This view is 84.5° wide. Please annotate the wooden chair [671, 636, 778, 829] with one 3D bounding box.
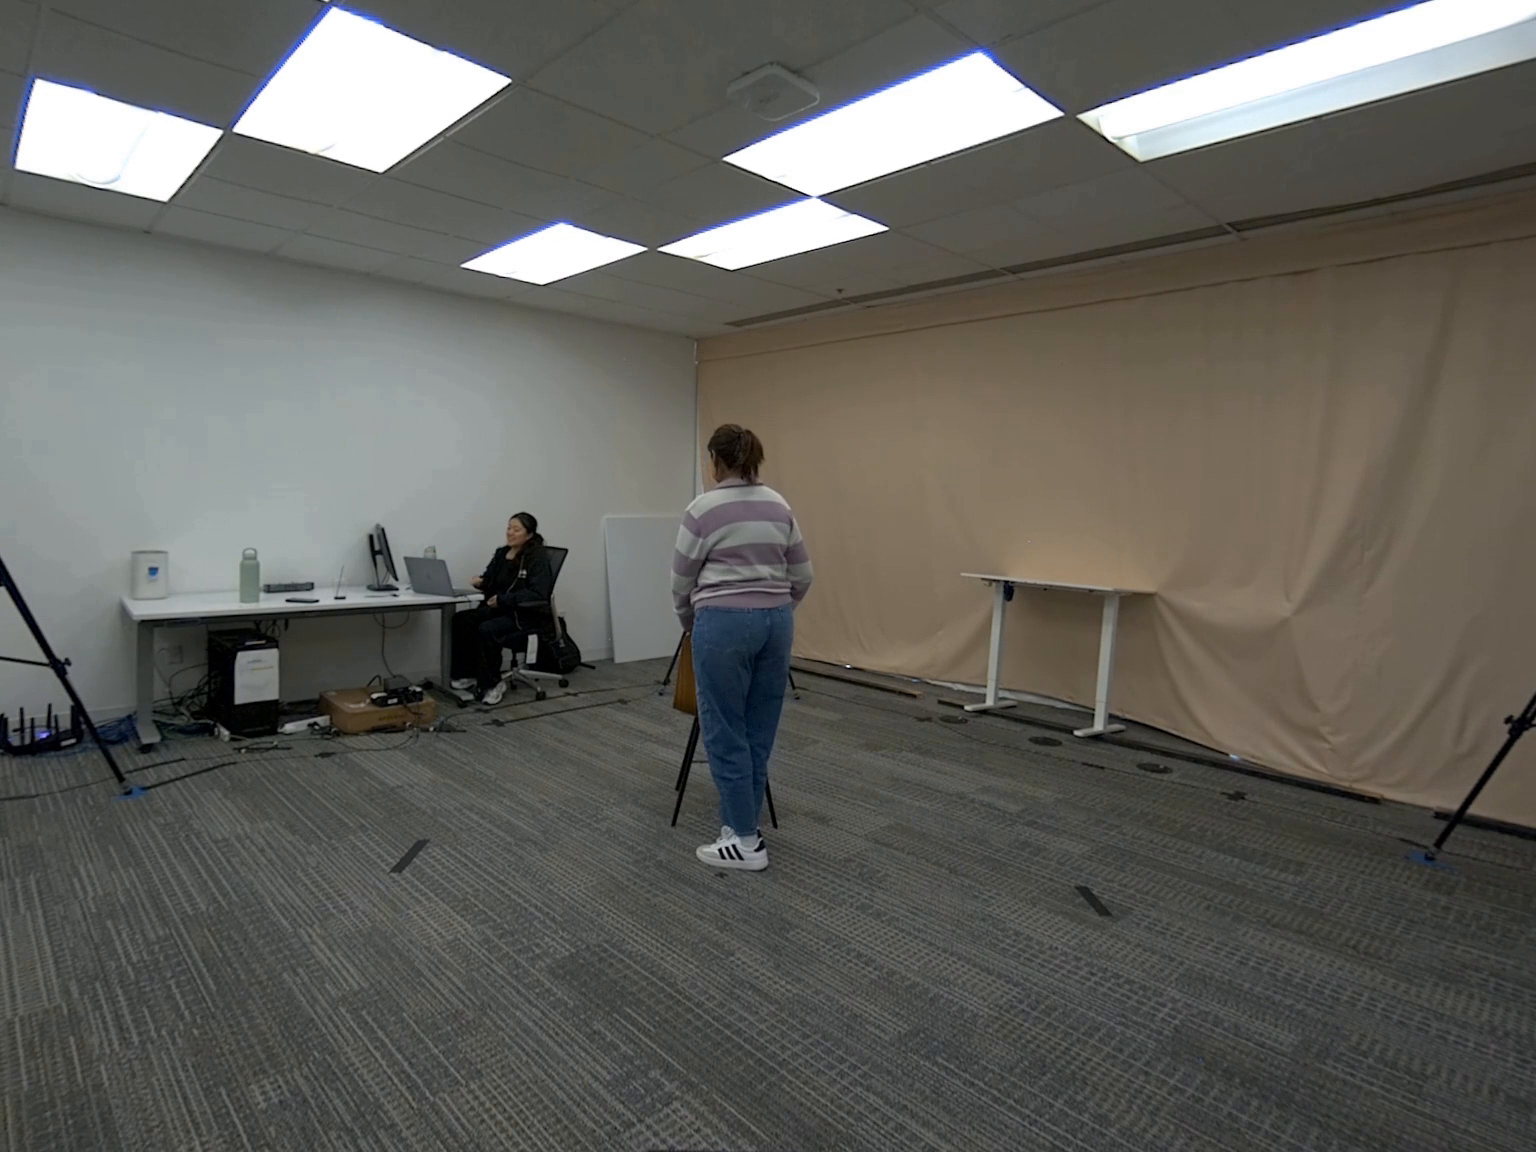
[{"bbox_3d":[-0.194,0.617,3.763,0.477,0.873,0.527,1,7,-3],"label":"wooden chair"}]
